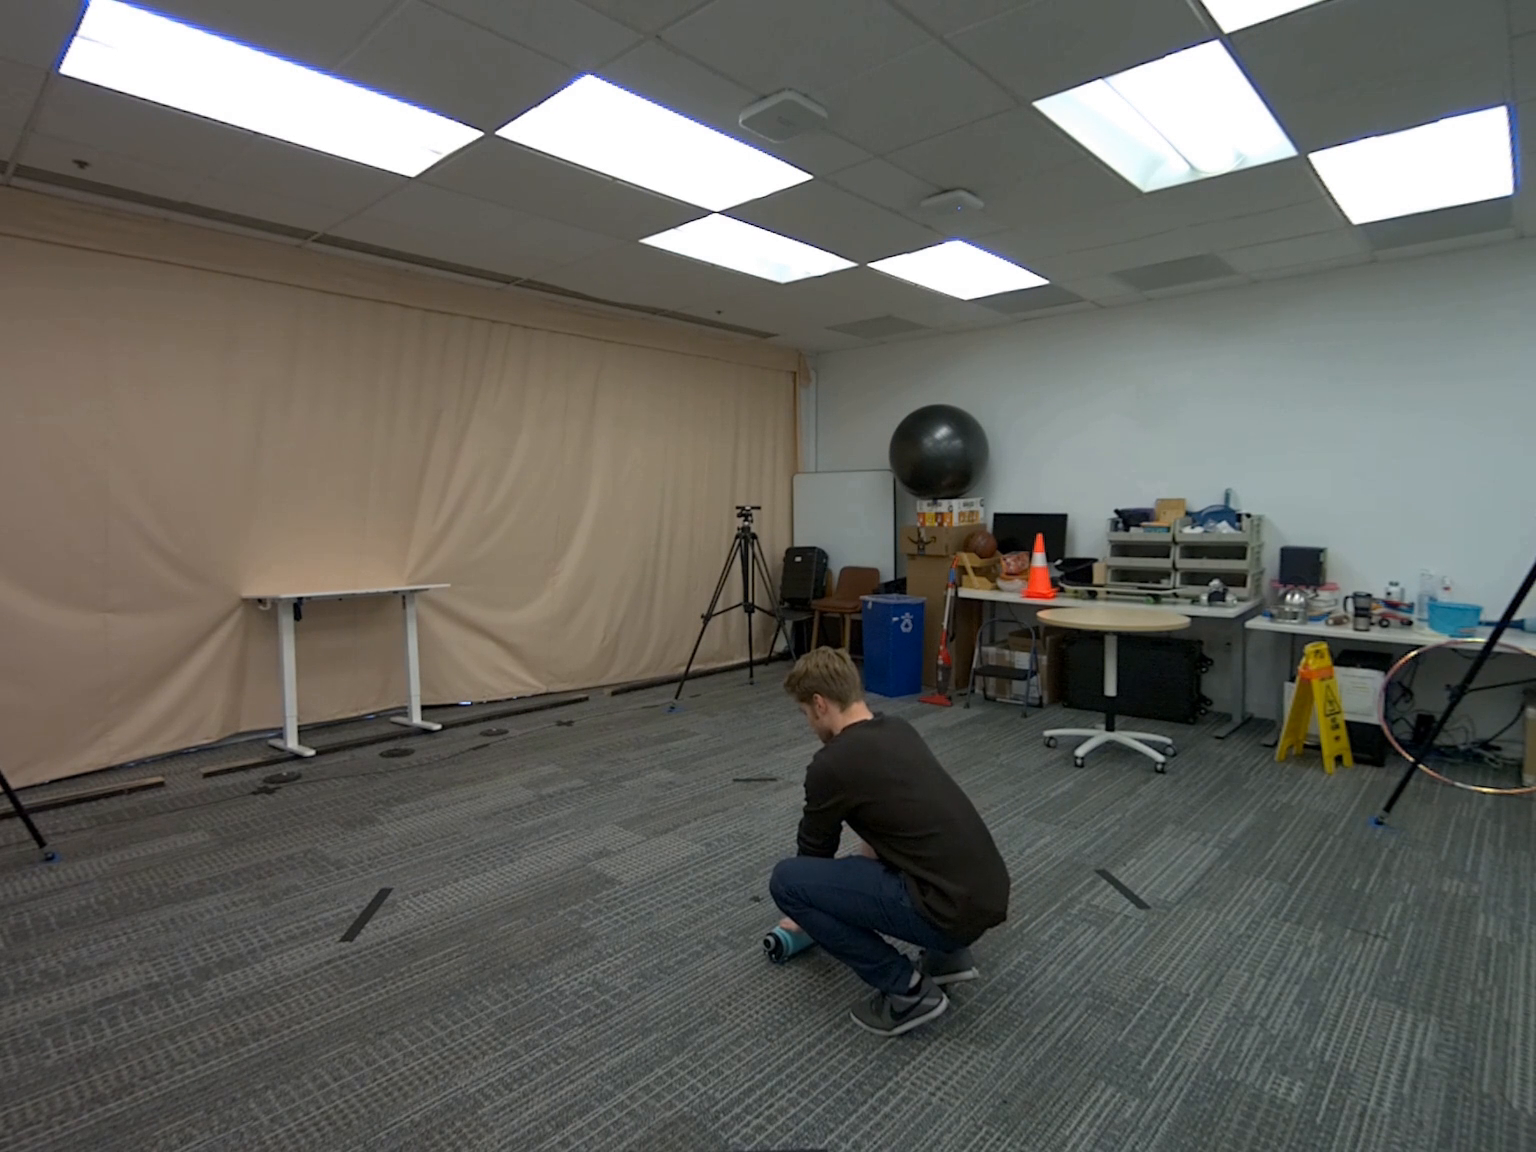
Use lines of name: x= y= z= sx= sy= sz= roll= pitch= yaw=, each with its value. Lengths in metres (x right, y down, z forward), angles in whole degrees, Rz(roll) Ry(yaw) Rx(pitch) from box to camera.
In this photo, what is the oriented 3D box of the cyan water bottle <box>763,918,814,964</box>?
cyan water bottle: x=0.099 y=1.122 z=2.657 sx=0.275 sy=0.092 sz=0.095 roll=-6 pitch=7 yaw=-43
